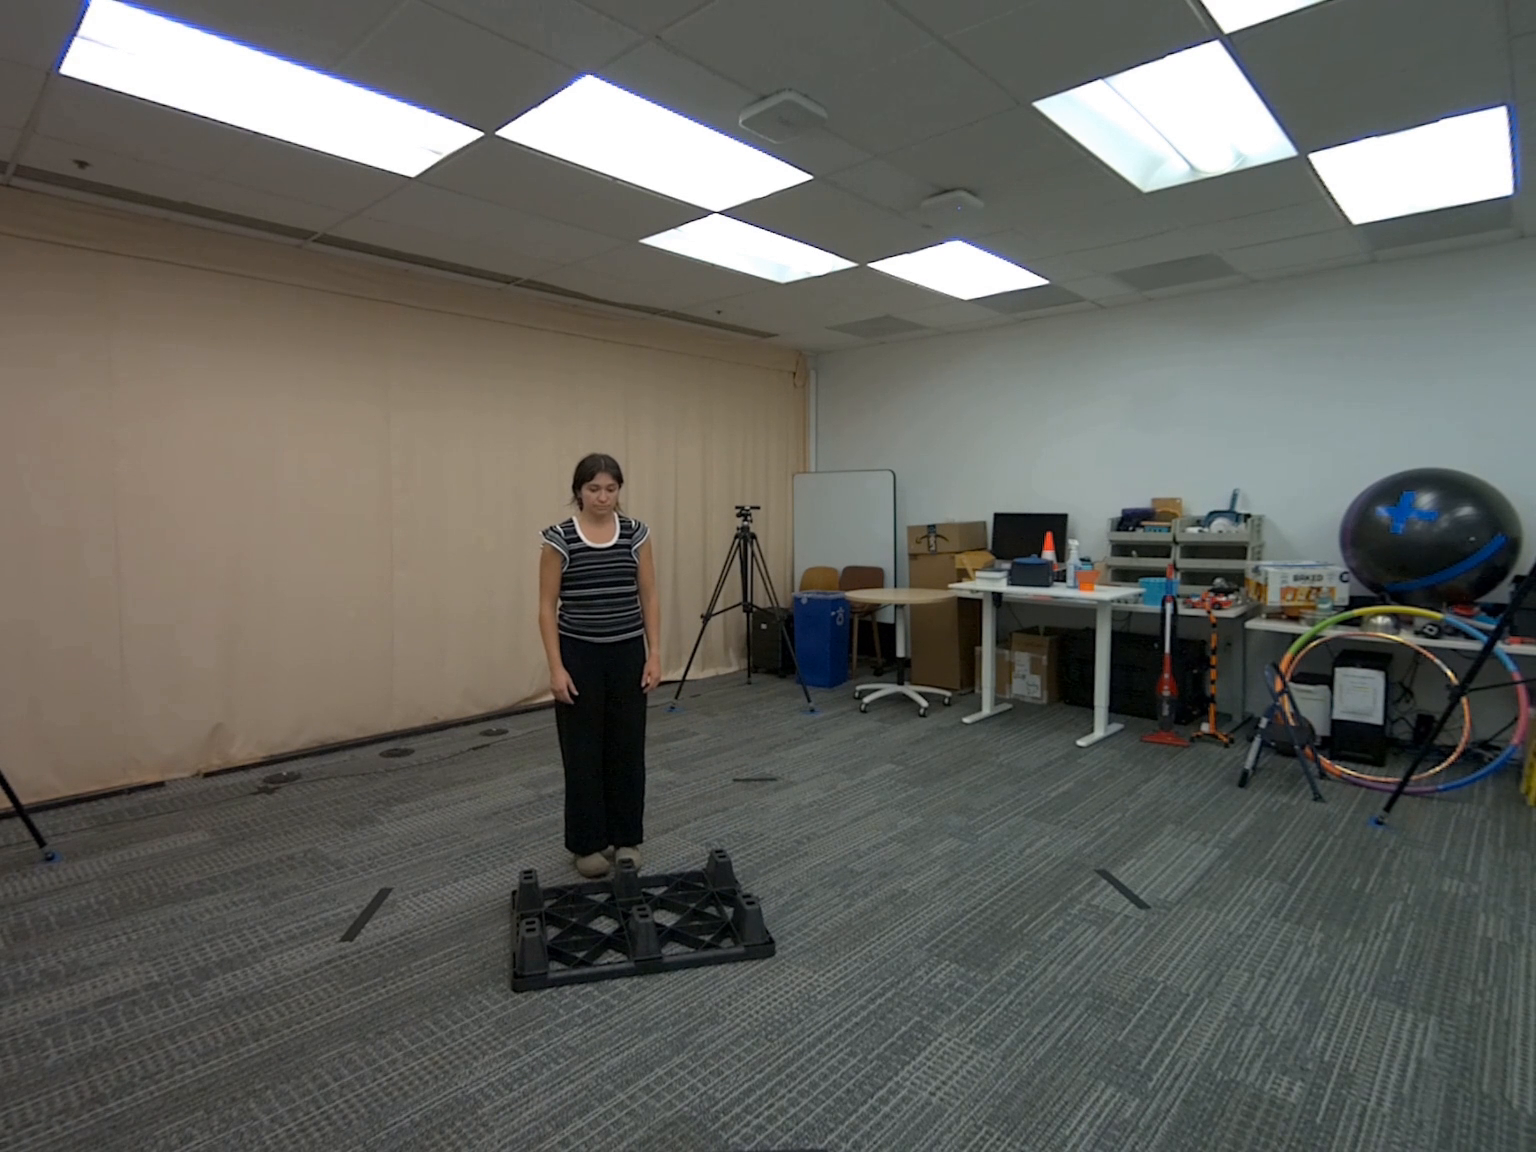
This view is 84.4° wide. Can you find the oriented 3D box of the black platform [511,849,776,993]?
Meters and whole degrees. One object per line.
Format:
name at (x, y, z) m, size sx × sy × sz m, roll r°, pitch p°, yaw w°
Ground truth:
black platform at (-0.438, 1.098, 2.782) m, size 0.793 × 0.143 × 0.616 m, roll -2°, pitch 5°, yaw -15°
